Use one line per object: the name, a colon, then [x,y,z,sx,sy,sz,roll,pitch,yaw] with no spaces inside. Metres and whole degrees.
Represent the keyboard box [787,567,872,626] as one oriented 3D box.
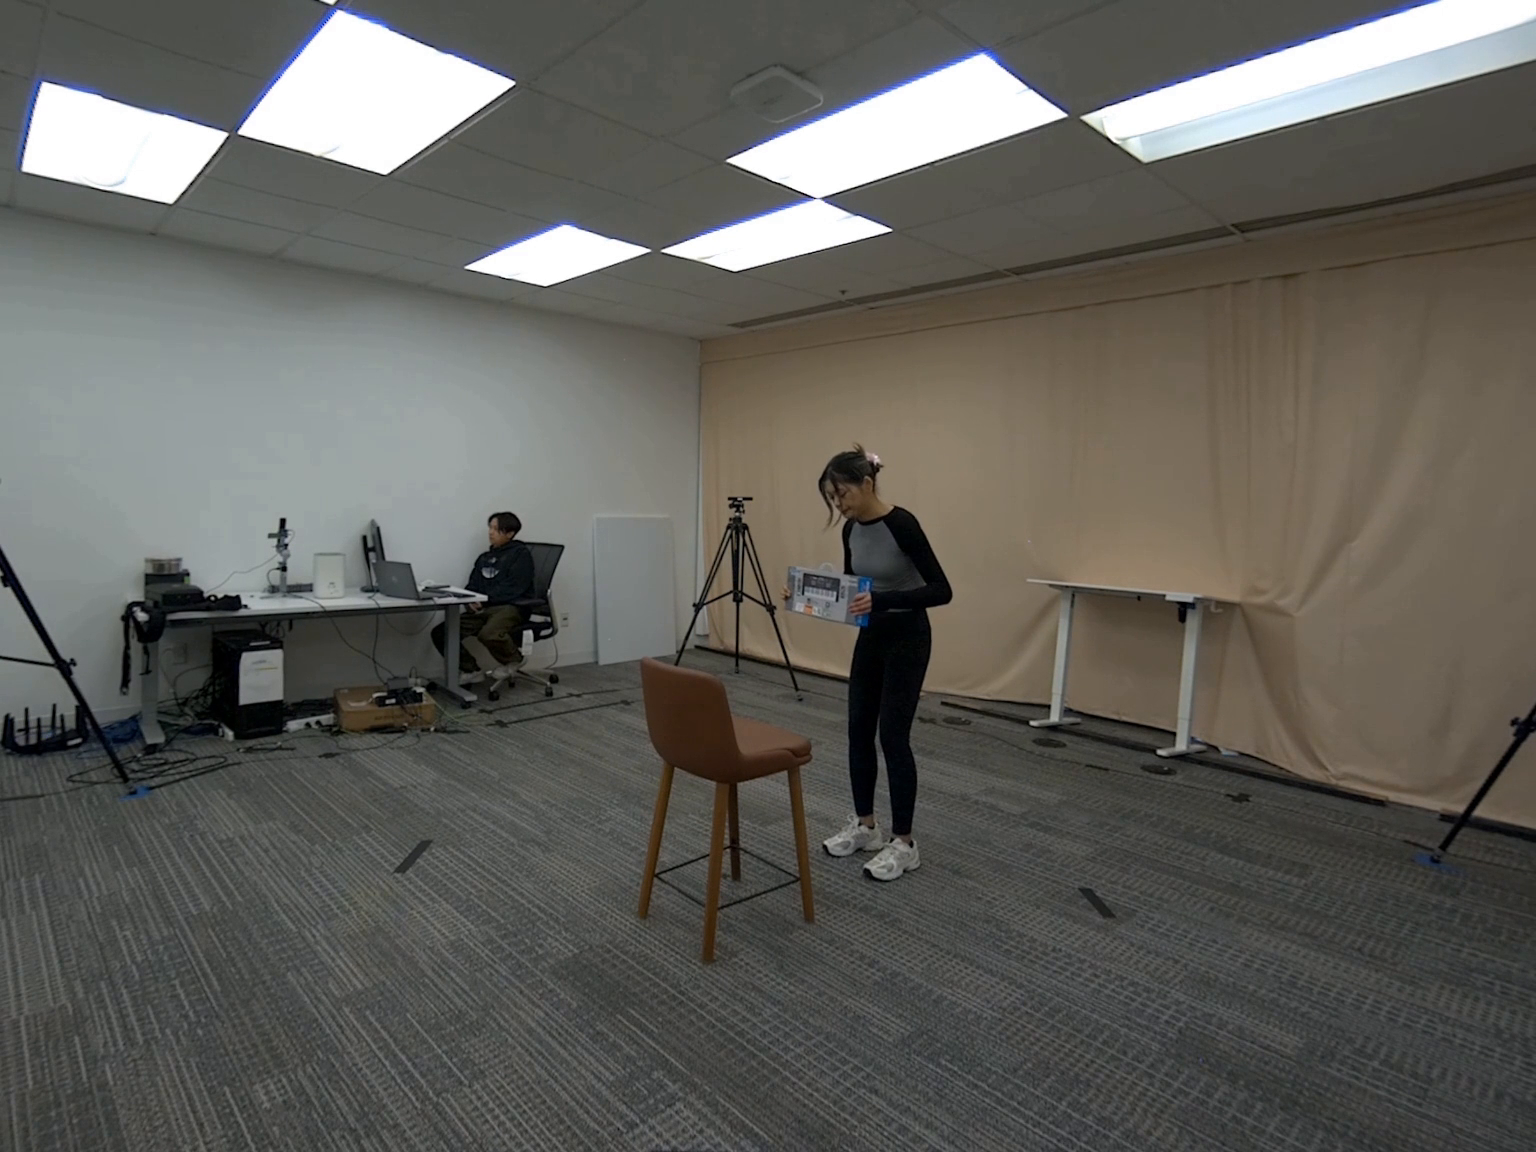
keyboard box: [0.210,0.072,3.121,0.058,0.176,0.447,5,3,-32]
